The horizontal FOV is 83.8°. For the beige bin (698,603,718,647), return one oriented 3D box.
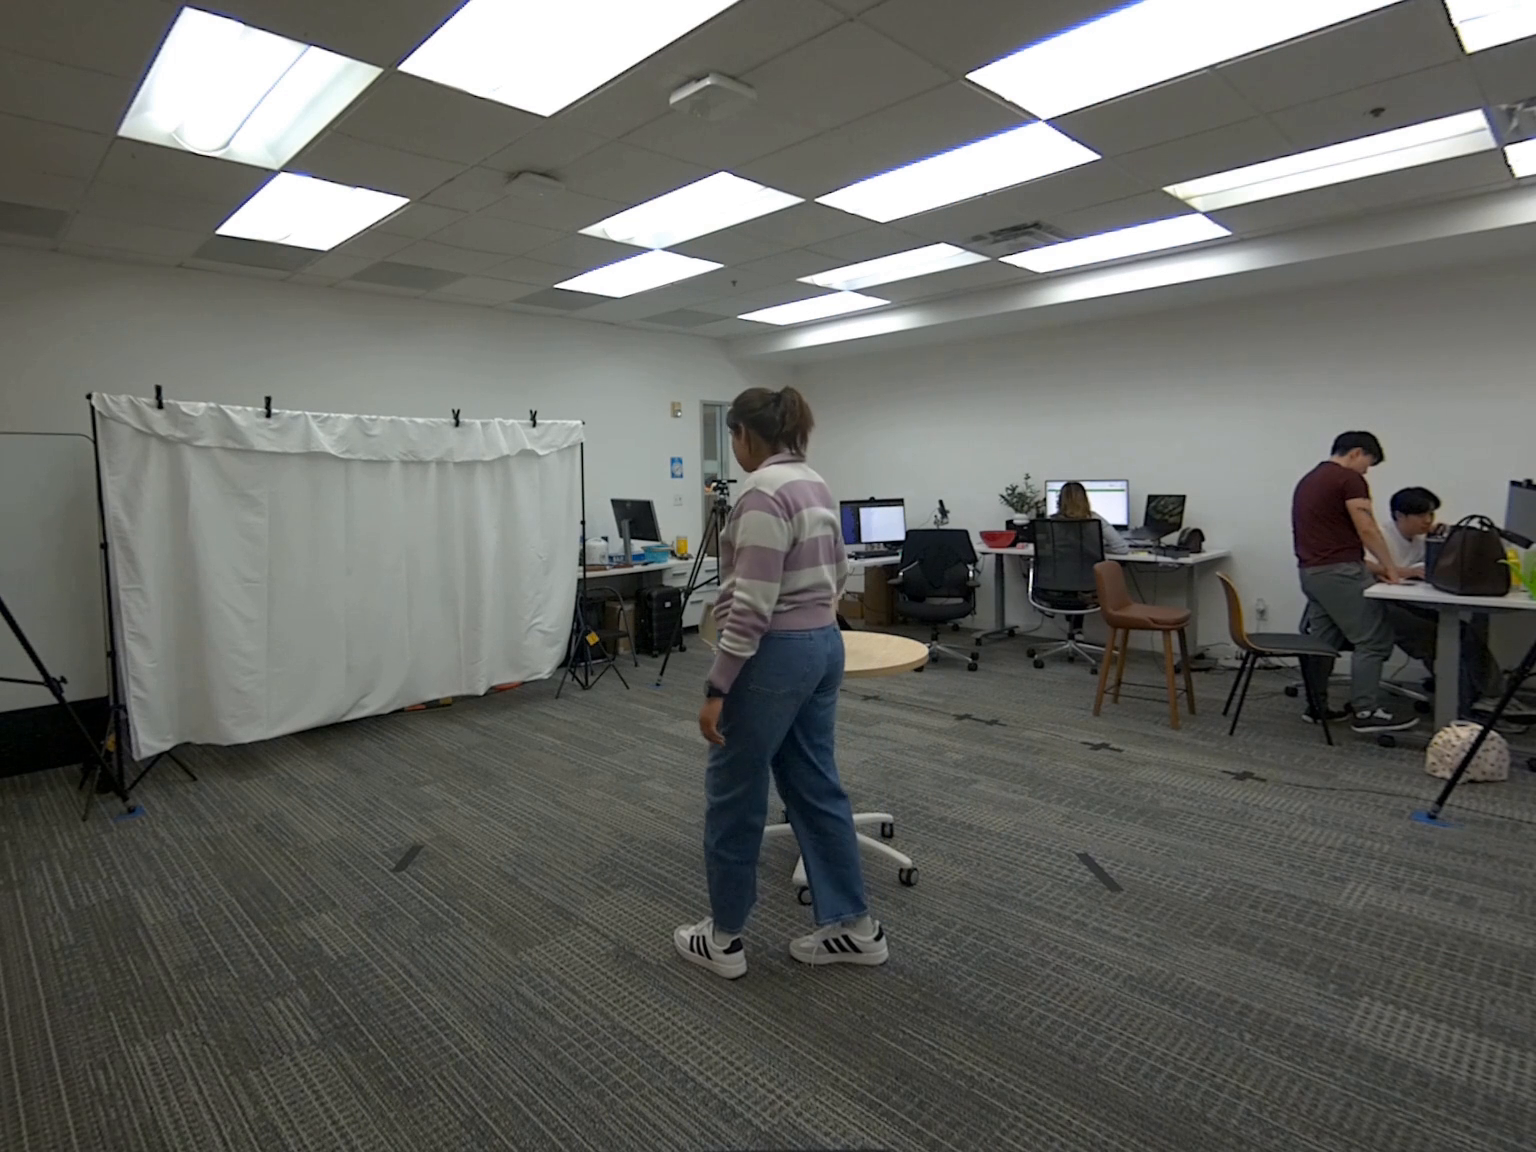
[{"bbox_3d":[0.019,0.167,3.184,0.387,0.188,0.413,2,6,27],"label":"beige bin"}]
